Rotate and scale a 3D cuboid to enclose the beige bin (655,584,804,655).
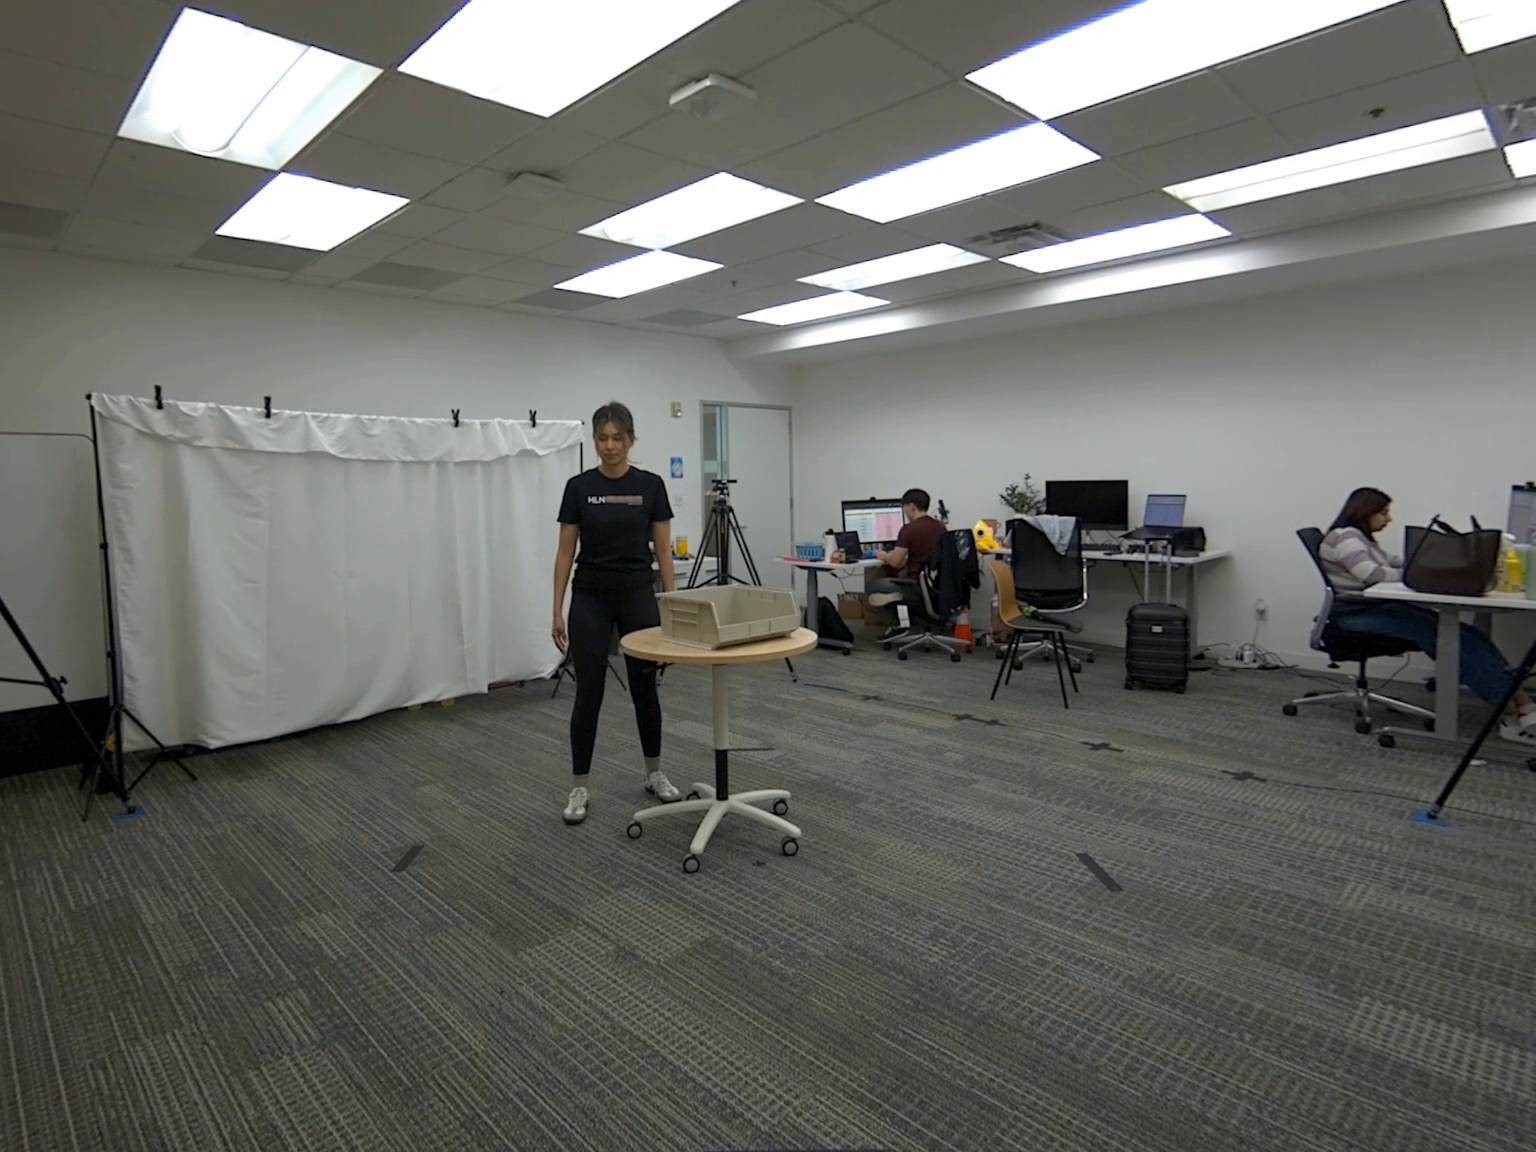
[{"bbox_3d":[-0.151,0.154,3.293,0.411,0.188,0.389,-6,7,-41],"label":"beige bin"}]
